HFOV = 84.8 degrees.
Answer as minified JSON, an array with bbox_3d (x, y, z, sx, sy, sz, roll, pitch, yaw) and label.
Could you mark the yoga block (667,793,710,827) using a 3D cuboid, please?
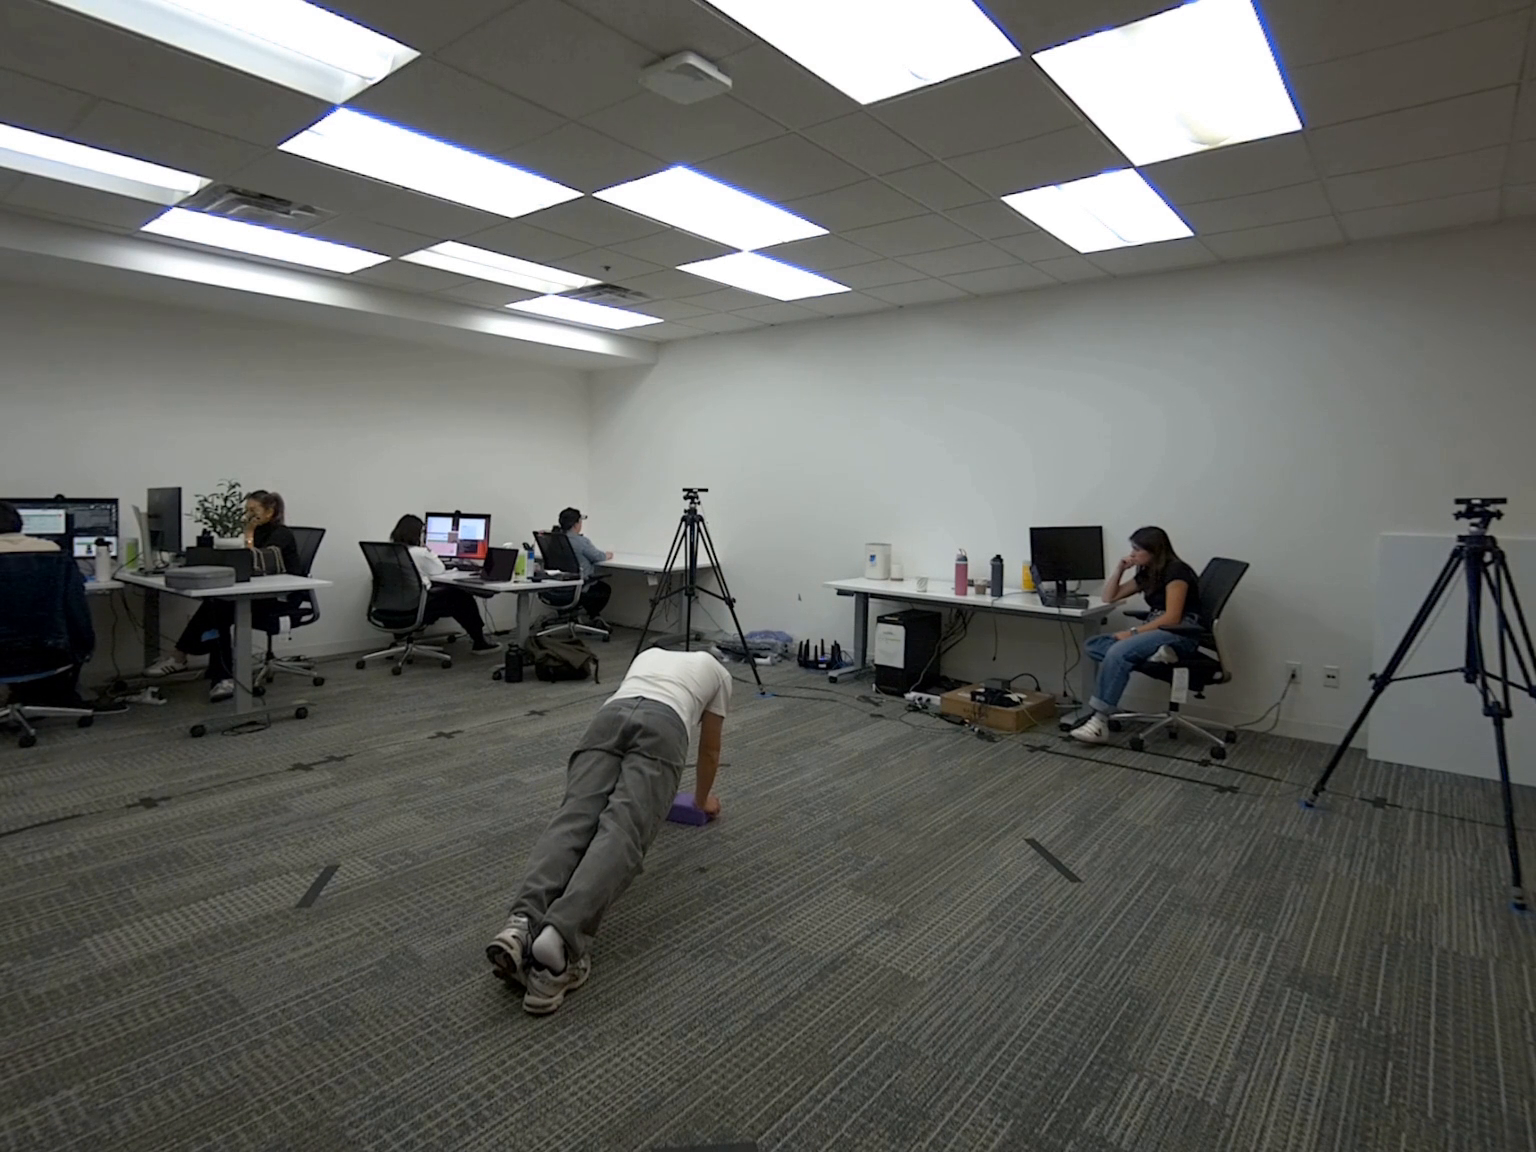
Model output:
[{"bbox_3d":[-0.355,0.979,3.614,0.234,0.076,0.146,2,5,21],"label":"yoga block"}]
